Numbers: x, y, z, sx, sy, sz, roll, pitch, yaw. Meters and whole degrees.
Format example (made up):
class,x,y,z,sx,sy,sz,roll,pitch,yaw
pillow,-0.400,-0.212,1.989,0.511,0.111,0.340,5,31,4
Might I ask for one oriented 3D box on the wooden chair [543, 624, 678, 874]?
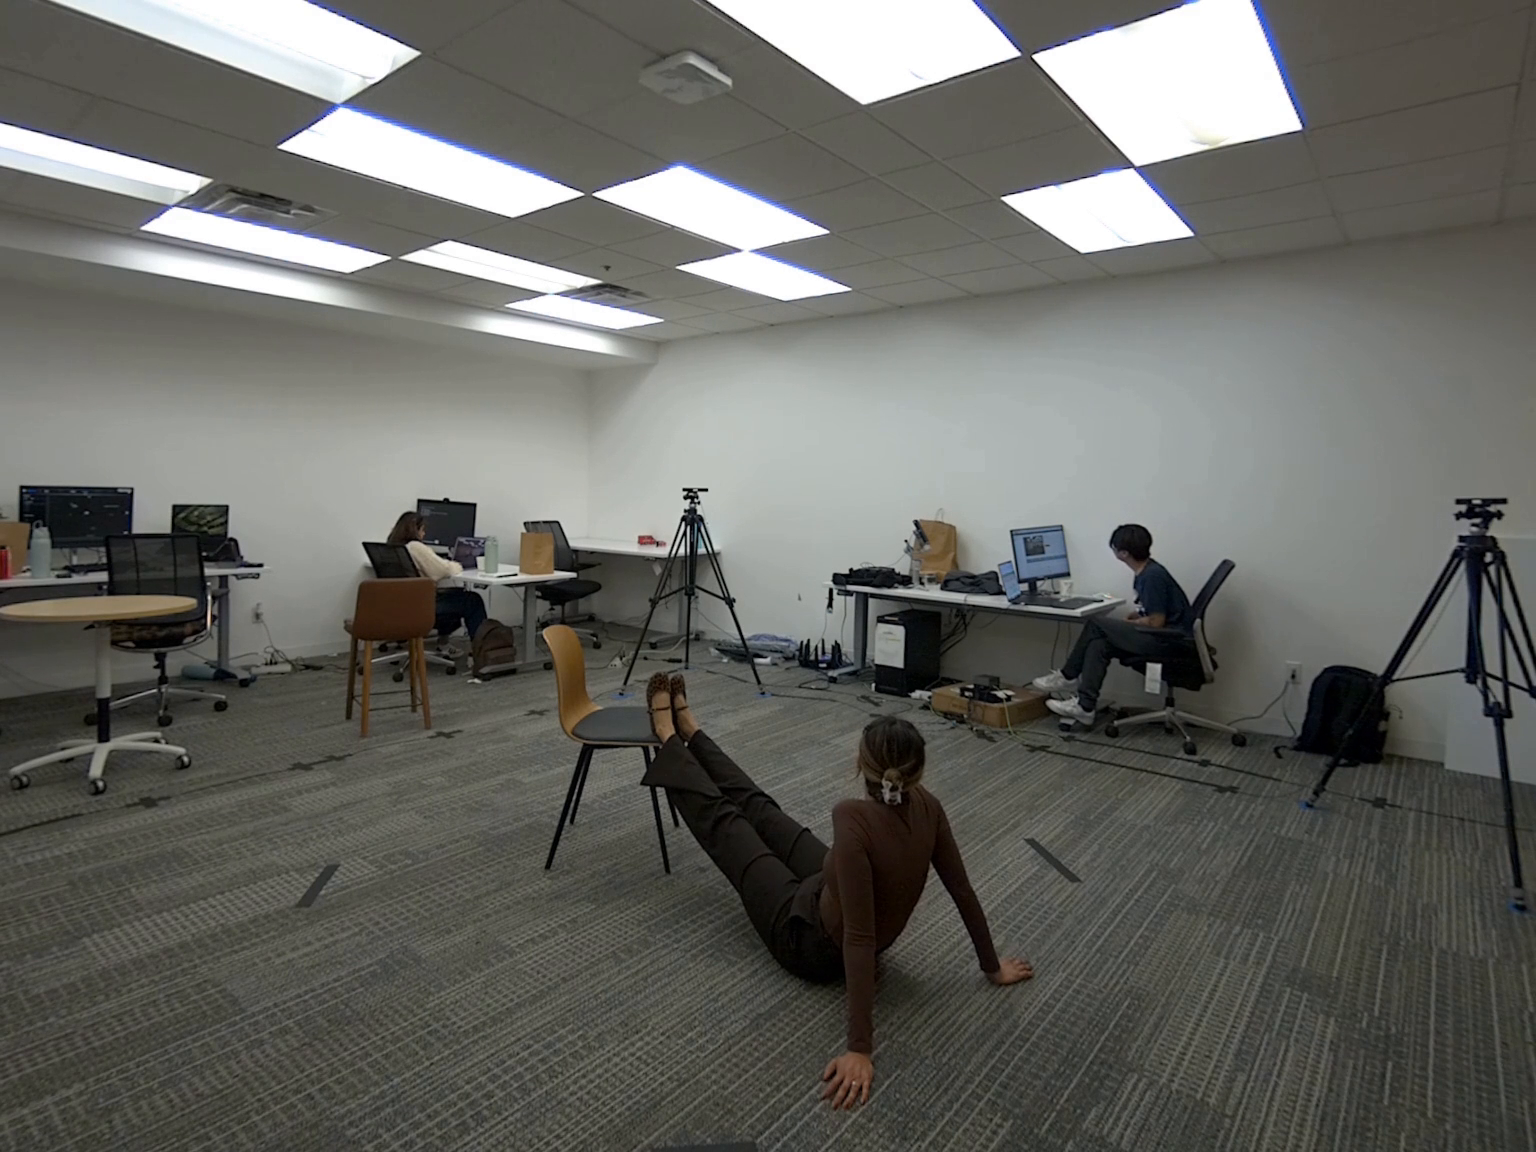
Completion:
class,x,y,z,sx,sy,sz,roll,pitch,yaw
wooden chair,-0.584,0.621,3.267,0.524,0.875,0.479,-3,3,1
